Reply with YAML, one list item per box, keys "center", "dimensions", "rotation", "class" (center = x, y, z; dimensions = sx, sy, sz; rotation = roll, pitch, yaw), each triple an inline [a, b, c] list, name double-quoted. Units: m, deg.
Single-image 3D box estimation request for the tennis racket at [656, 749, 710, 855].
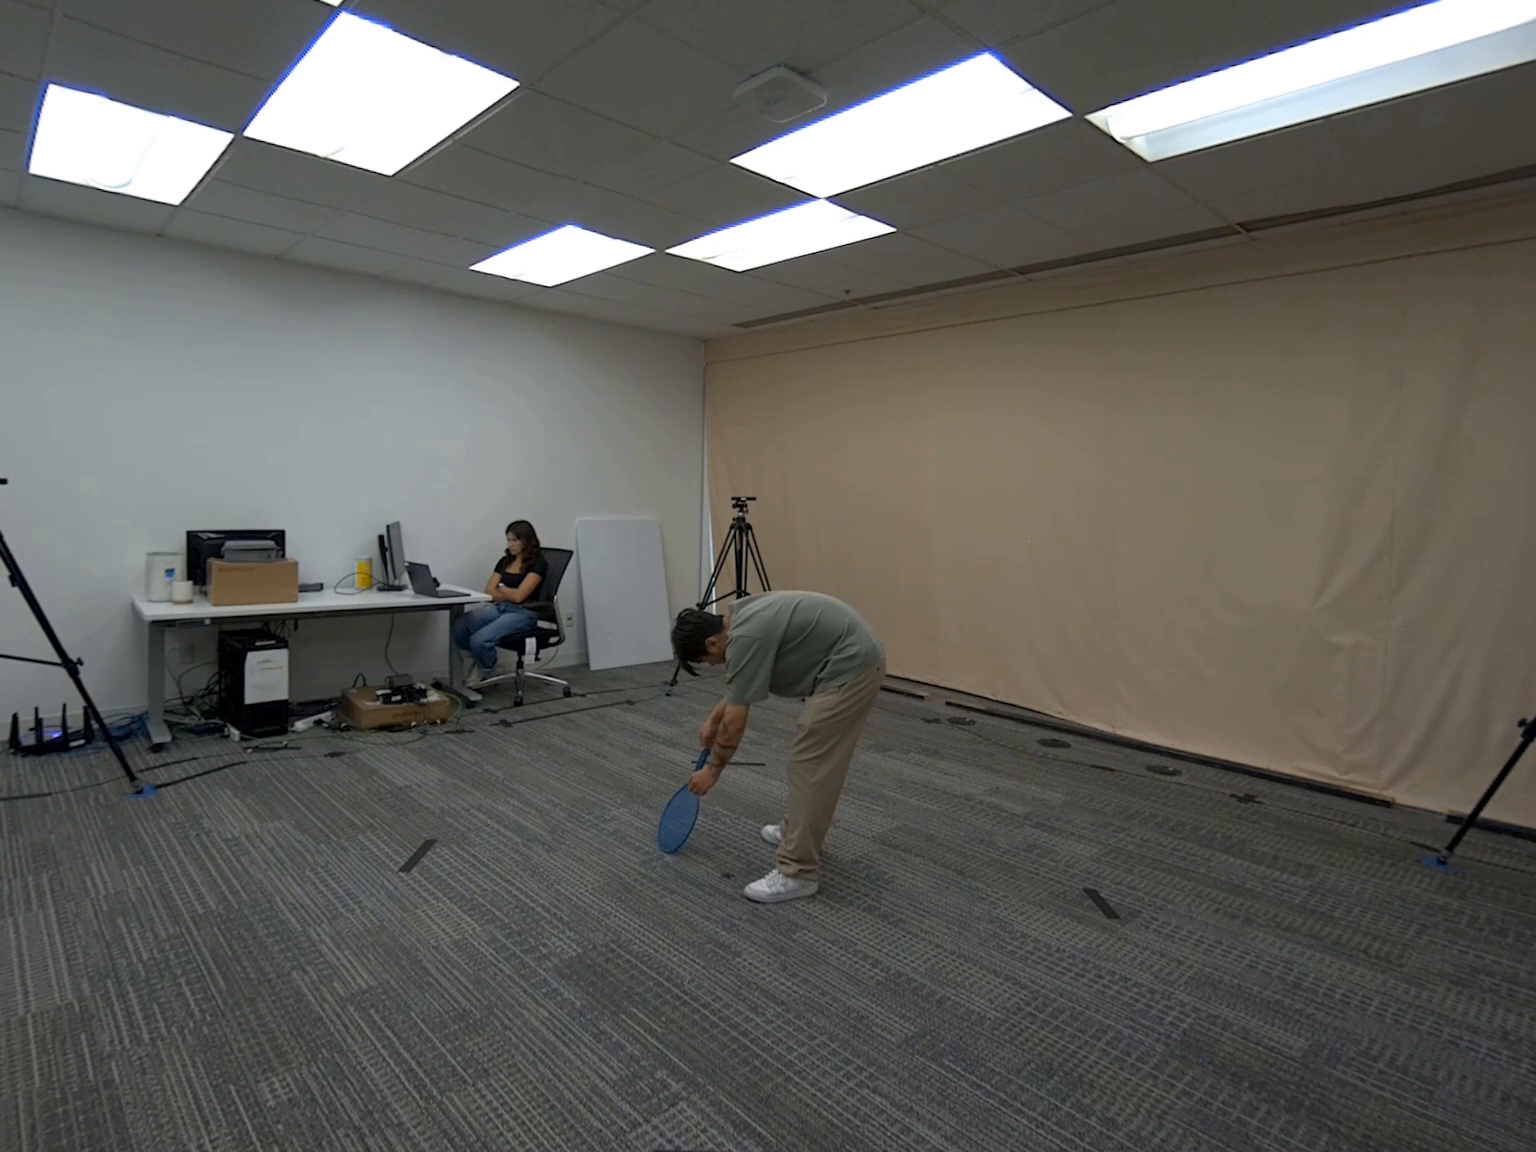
- center: [-0.331, 0.891, 3.355]
  dimensions: [0.031, 0.436, 0.218]
  rotation: [36, -25, -31]
  class: "tennis racket"
